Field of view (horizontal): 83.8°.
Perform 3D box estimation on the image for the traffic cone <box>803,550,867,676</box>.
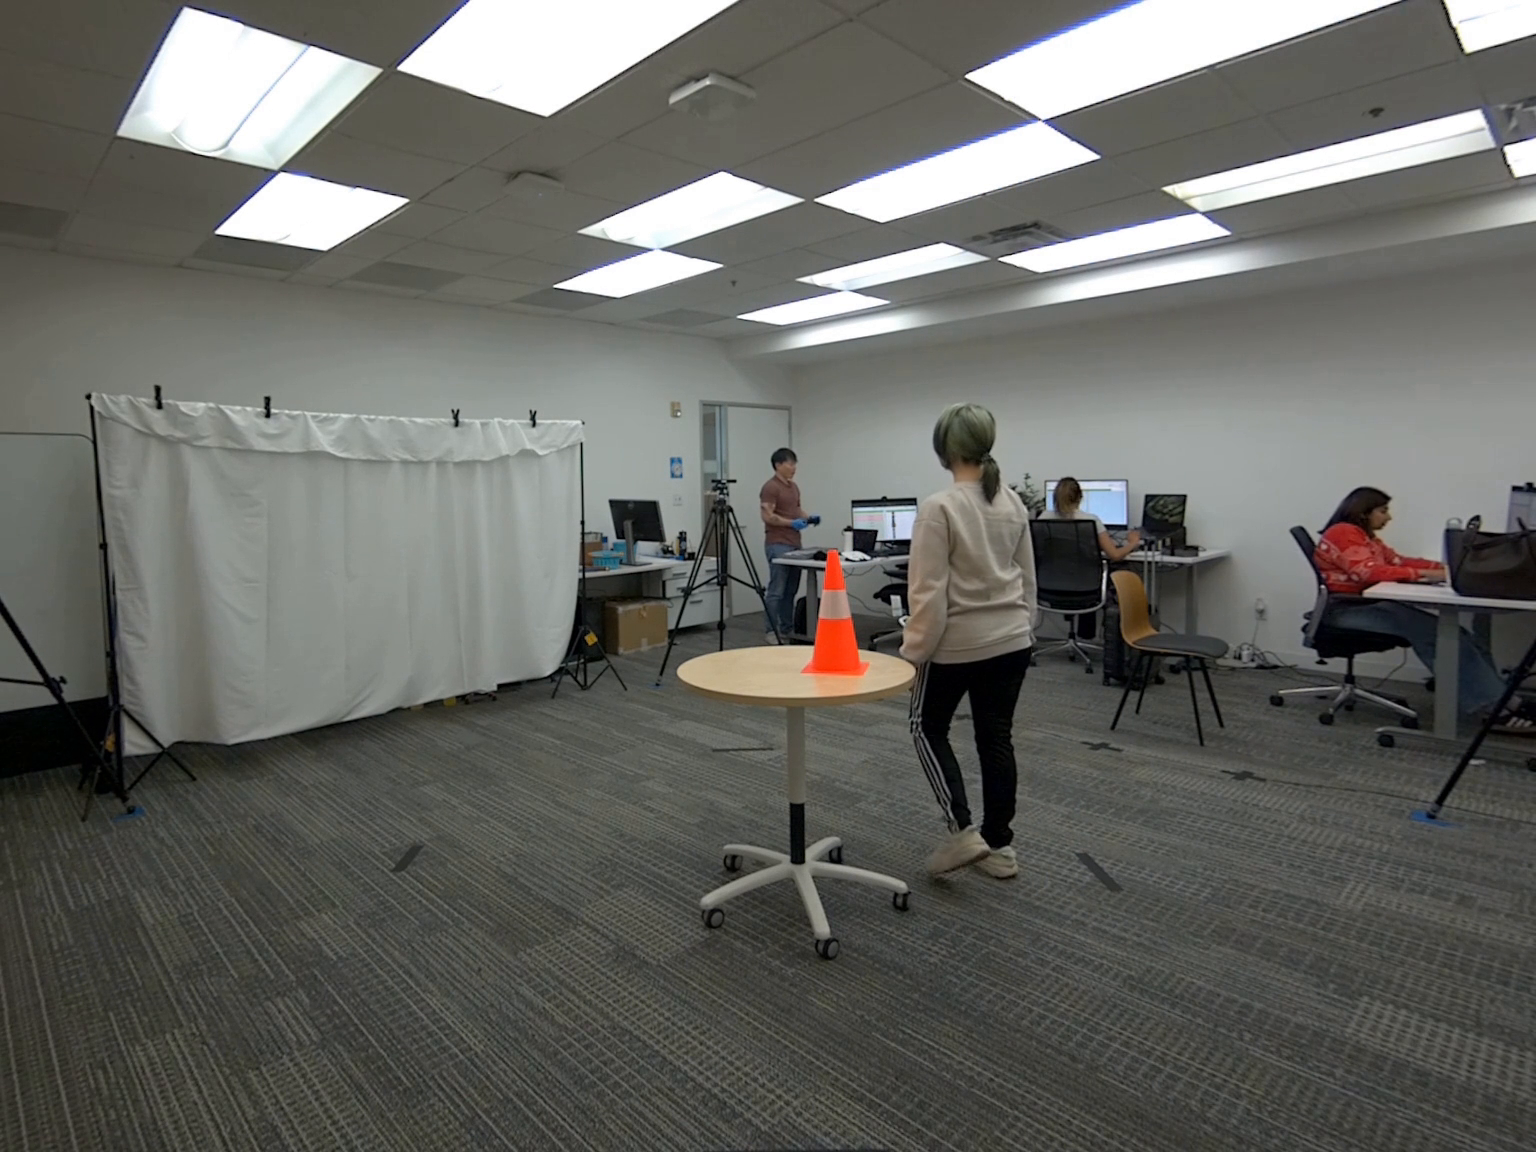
[{"bbox_3d":[0.224,0.109,2.754,0.207,0.383,0.202,-1,3,16],"label":"traffic cone"}]
